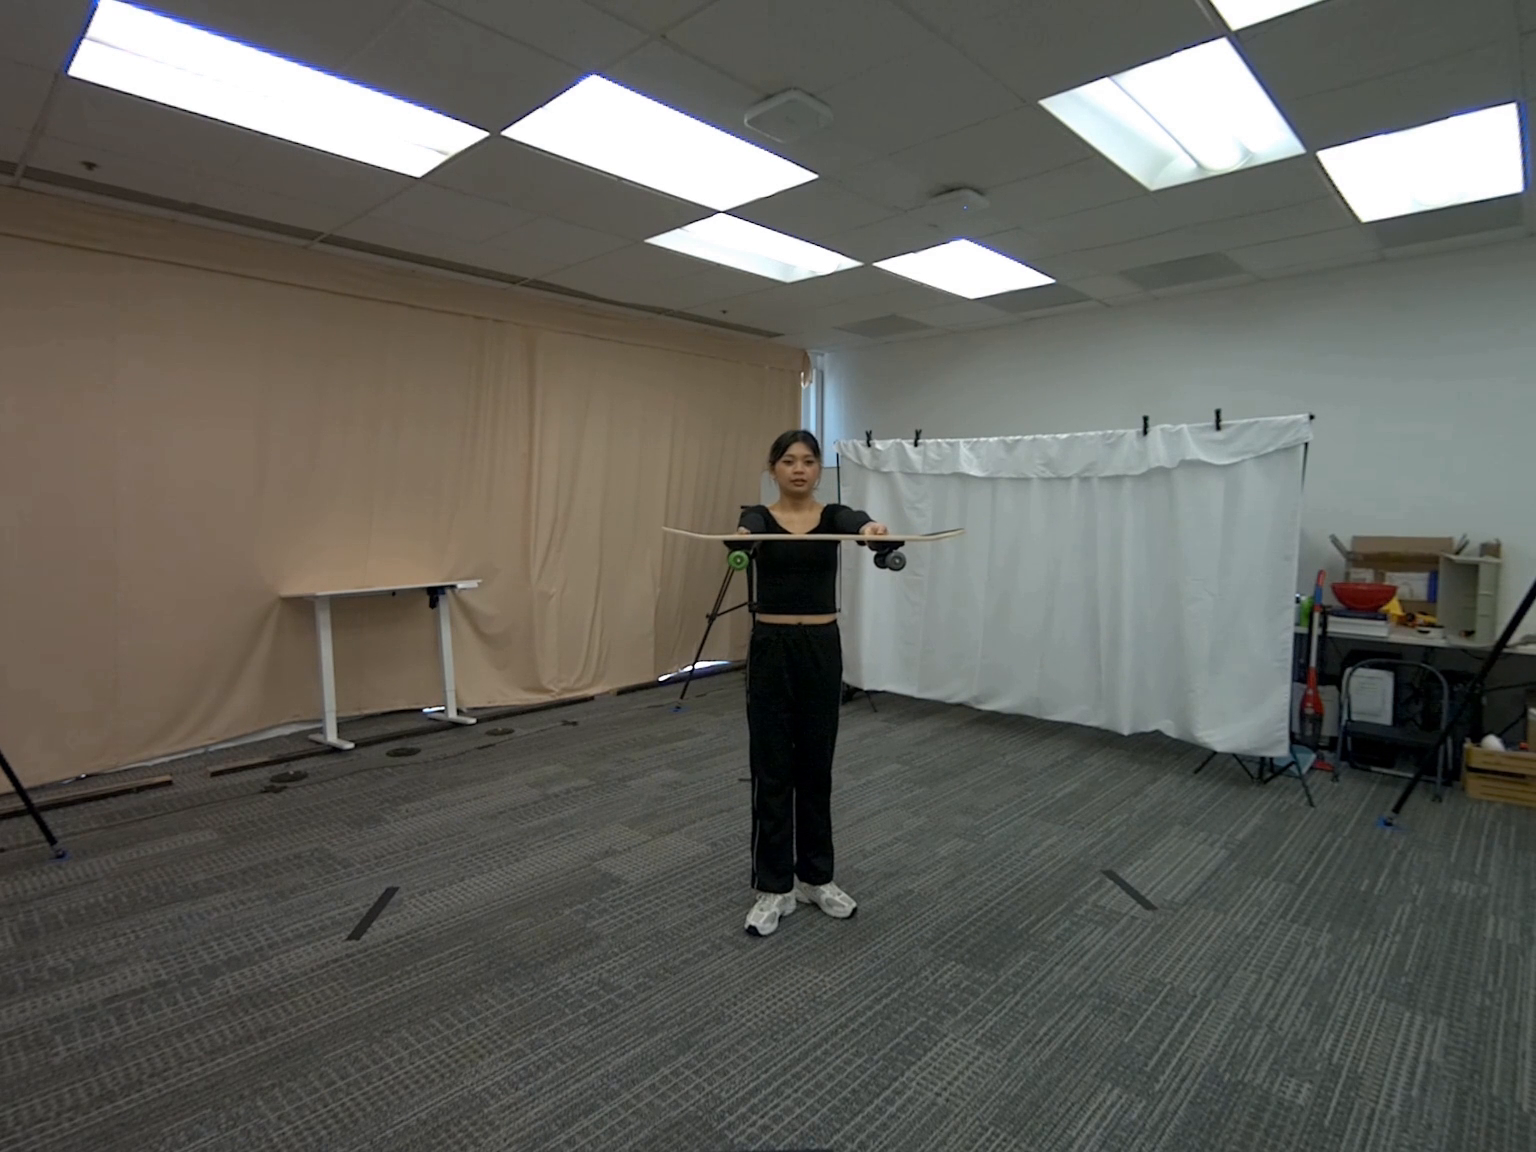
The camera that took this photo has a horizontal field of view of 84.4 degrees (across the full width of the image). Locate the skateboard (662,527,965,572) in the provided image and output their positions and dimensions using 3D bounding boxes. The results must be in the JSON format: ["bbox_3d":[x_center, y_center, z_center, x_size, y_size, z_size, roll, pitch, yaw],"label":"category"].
[{"bbox_3d":[0.133,-0.074,2.201,0.783,0.110,0.194,1,5,-3],"label":"skateboard"}]
